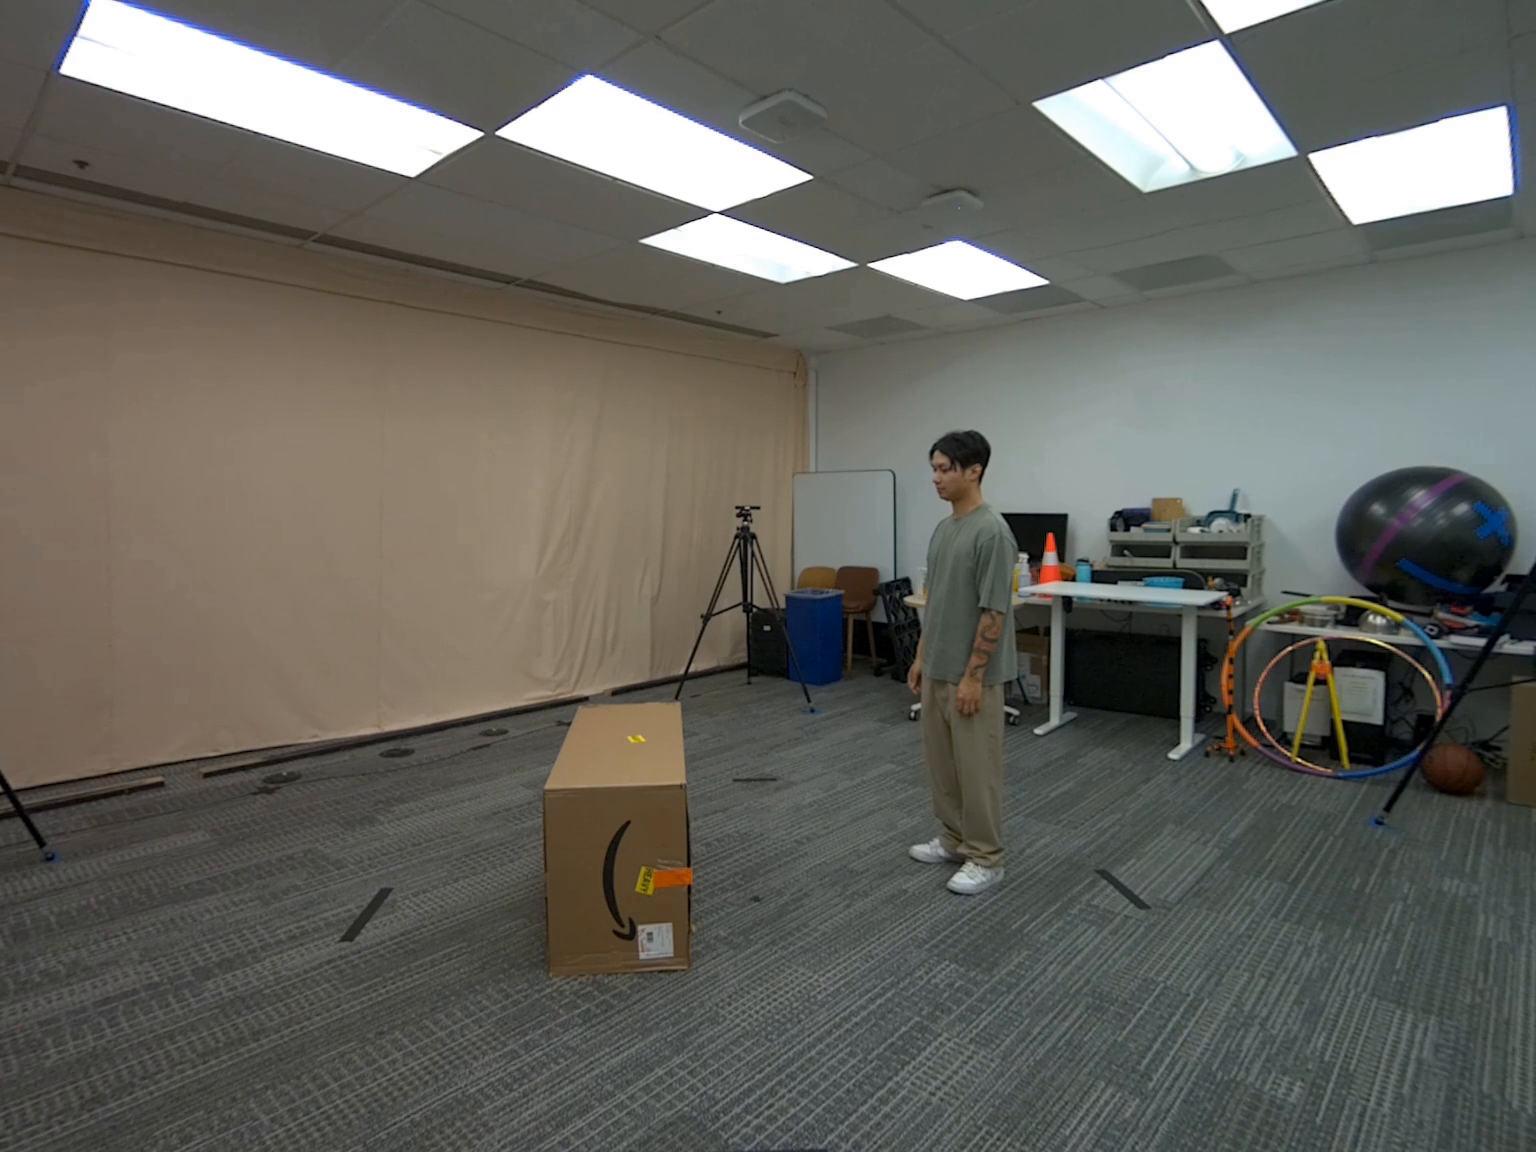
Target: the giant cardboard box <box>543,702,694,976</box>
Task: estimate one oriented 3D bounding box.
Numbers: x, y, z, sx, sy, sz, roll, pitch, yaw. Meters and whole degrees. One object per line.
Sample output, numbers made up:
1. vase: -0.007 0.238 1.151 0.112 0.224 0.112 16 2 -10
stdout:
1. giant cardboard box: -0.503 0.857 3.001 0.424 0.576 1.034 -1 4 -6
